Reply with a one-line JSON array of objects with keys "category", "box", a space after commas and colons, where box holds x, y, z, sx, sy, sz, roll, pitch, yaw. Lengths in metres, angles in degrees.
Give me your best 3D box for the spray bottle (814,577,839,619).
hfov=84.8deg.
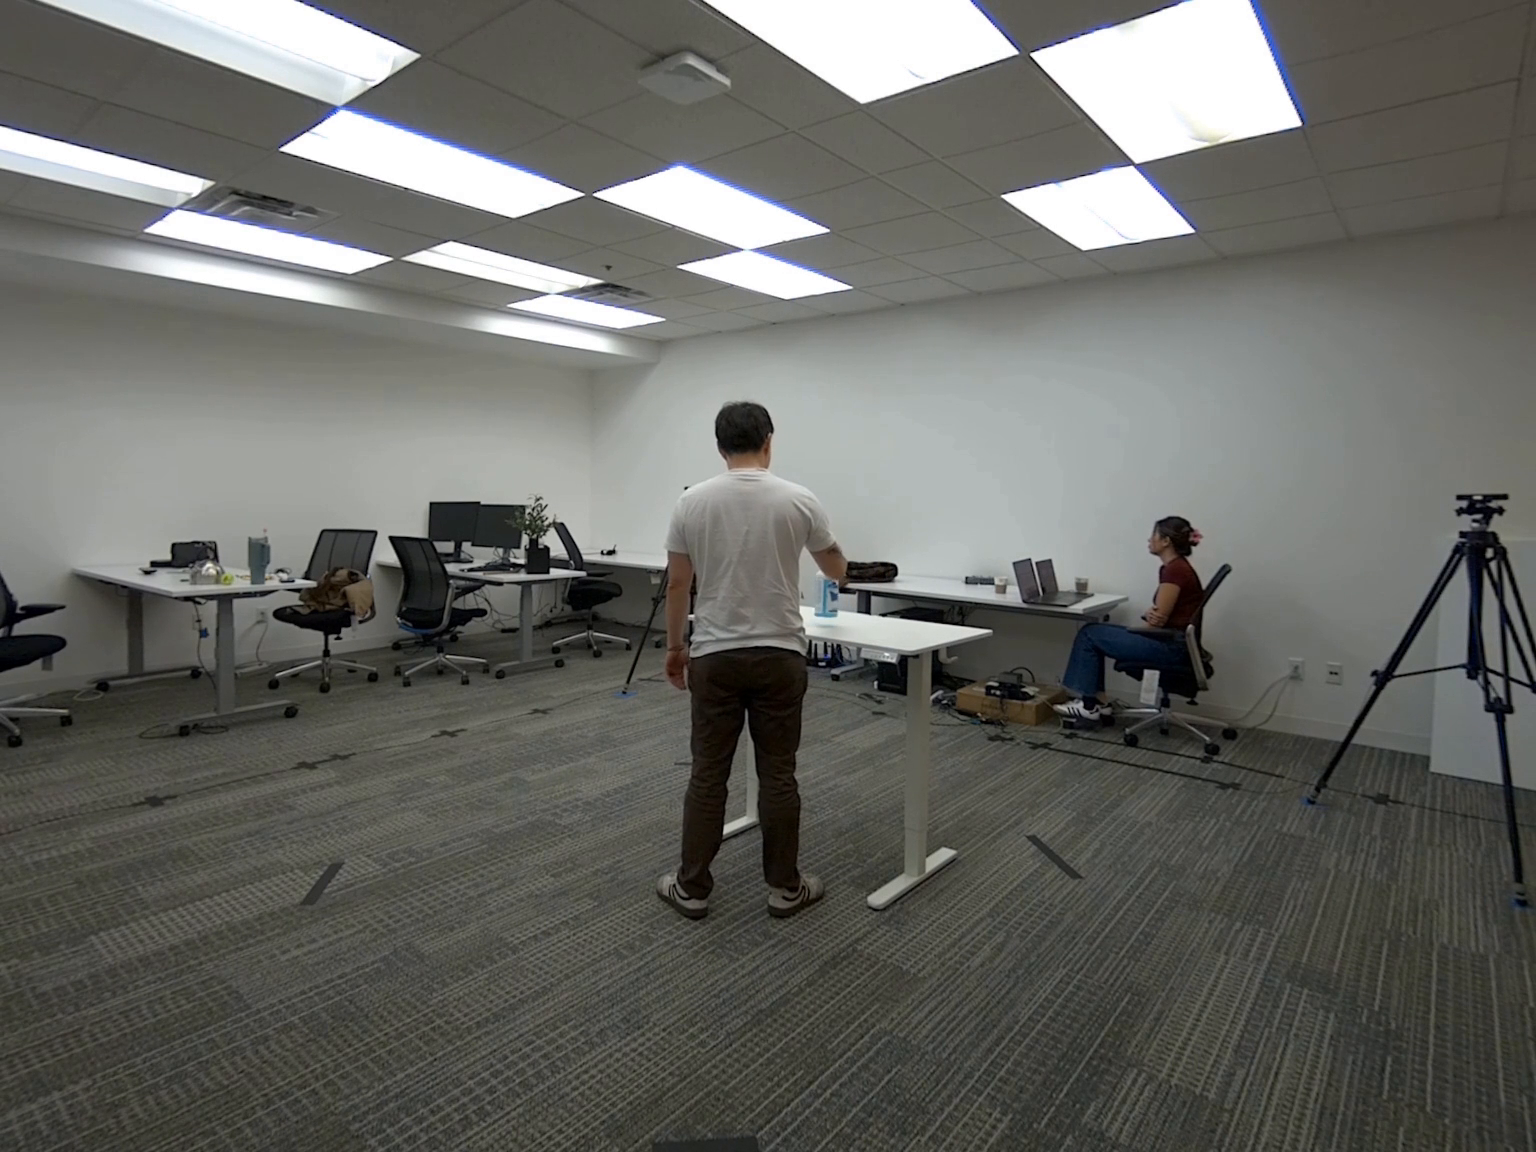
[{"category": "spray bottle", "box": [0.213, -0.003, 3.178, 0.088, 0.298, 0.088, 2, -3, 15]}]
